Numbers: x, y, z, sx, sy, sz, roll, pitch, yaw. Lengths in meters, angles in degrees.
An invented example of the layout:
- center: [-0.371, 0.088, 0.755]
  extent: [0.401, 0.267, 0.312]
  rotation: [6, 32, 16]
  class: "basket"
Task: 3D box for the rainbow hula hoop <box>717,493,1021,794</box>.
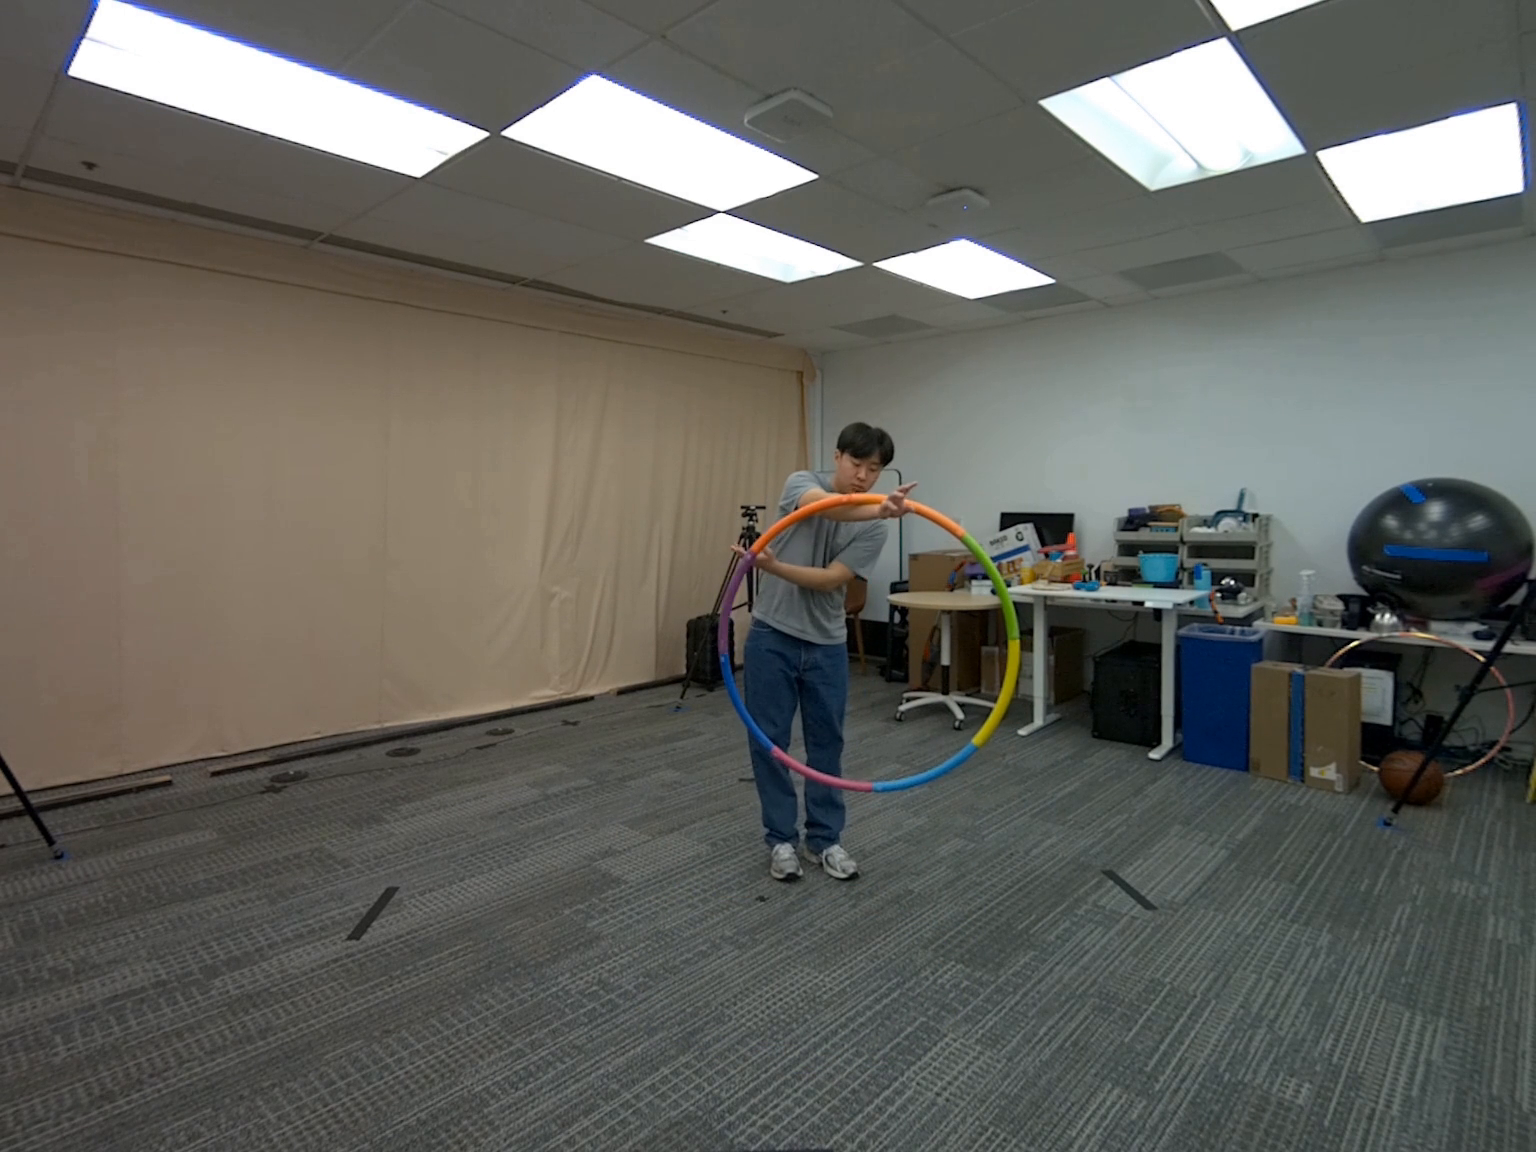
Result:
- center: [0.314, 0.229, 2.775]
  extent: [0.993, 0.974, 0.035]
  rotation: [1, 7, 14]
  class: "rainbow hula hoop"
